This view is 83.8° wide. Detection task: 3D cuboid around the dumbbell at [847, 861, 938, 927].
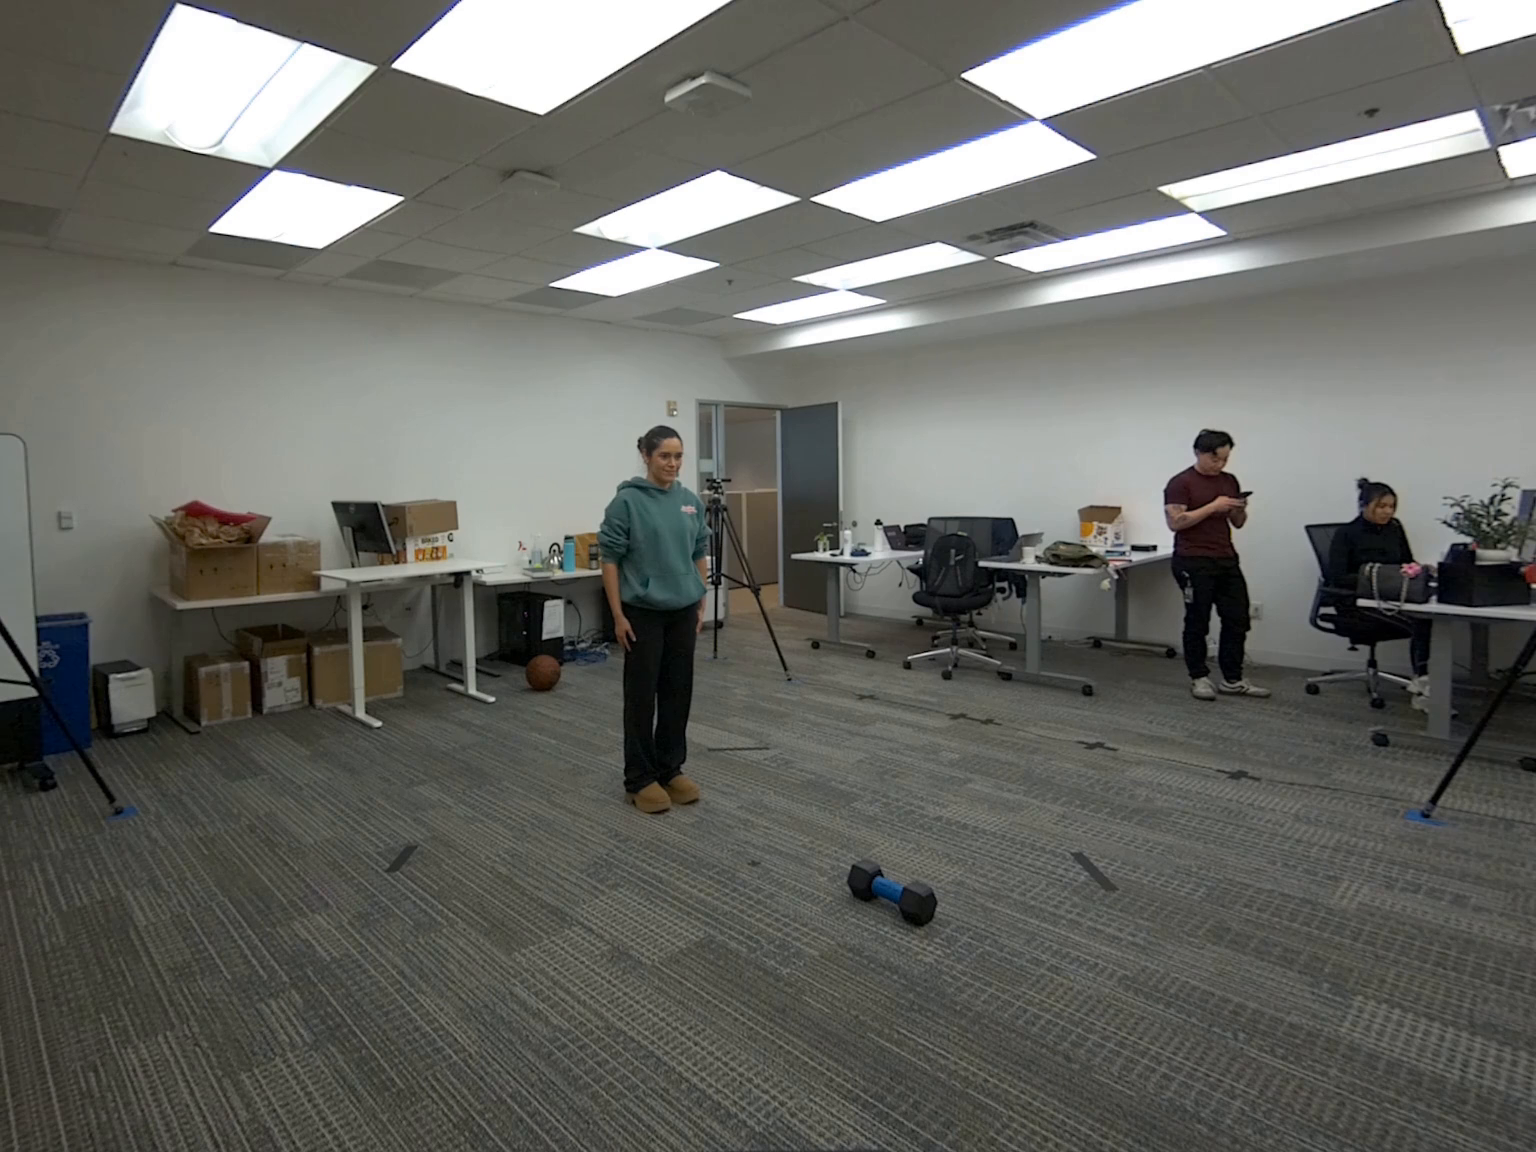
[{"bbox_3d":[0.405,1.022,2.762,0.105,0.124,0.303,33,-17,-38],"label":"dumbbell"}]
